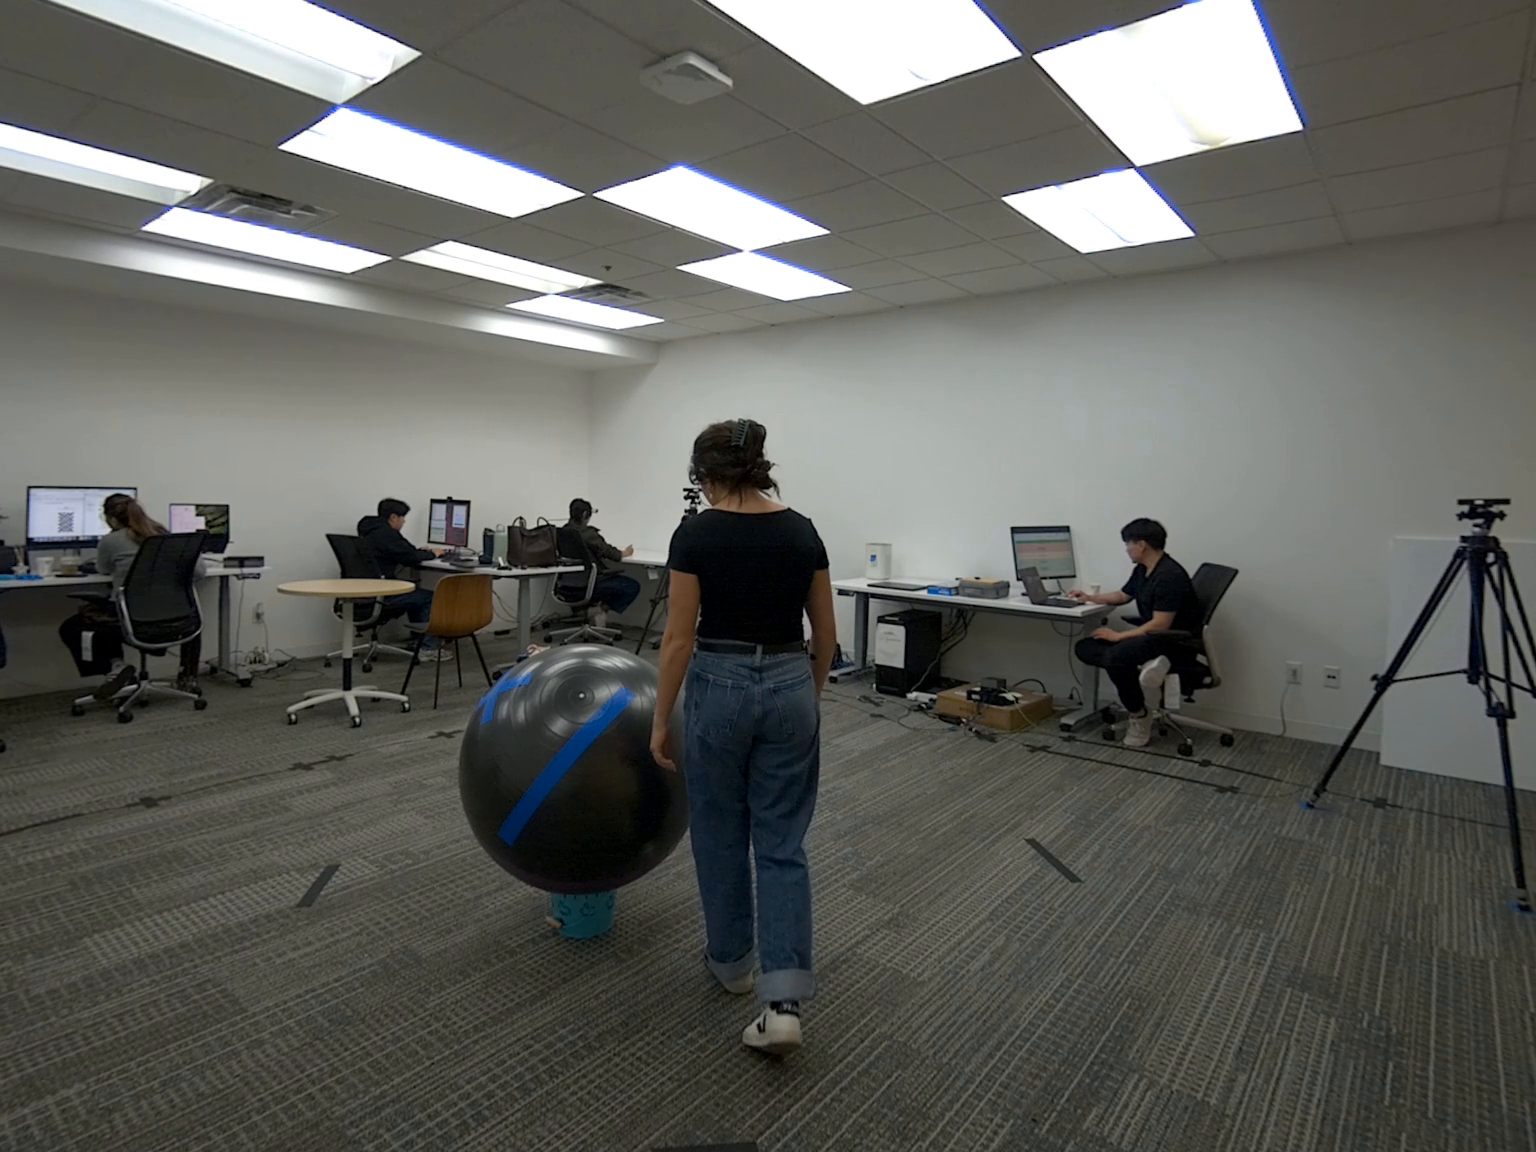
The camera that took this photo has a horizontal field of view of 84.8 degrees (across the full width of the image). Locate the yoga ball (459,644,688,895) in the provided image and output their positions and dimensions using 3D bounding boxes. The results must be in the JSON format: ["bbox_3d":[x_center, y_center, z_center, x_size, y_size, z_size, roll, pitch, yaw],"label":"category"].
[{"bbox_3d":[-0.591,0.602,2.667,0.757,0.756,0.762,1,4,-2],"label":"yoga ball"}]
